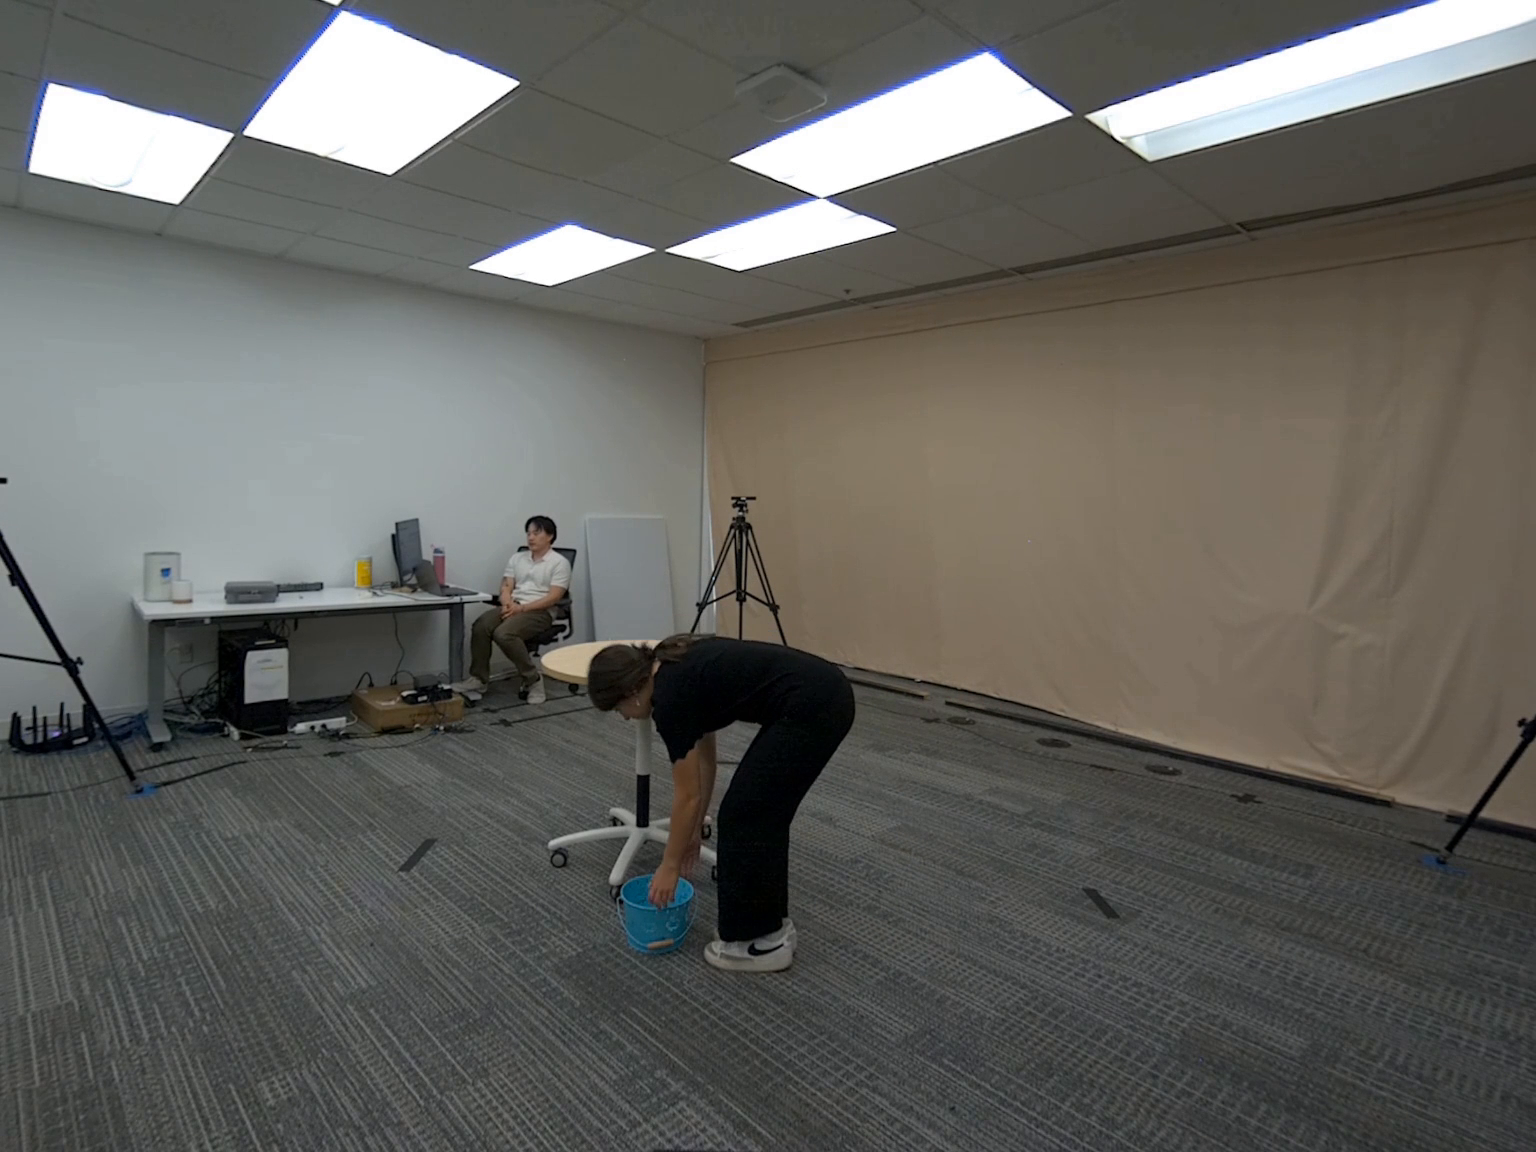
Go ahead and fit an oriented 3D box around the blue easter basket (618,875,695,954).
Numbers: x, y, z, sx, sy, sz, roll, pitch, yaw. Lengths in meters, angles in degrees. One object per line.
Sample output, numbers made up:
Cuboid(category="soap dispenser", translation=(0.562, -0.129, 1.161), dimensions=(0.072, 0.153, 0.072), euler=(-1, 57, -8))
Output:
Cuboid(category="blue easter basket", translation=(-0.354, 1.066, 2.651), dimensions=(0.243, 0.155, 0.245), euler=(2, 6, -2))
